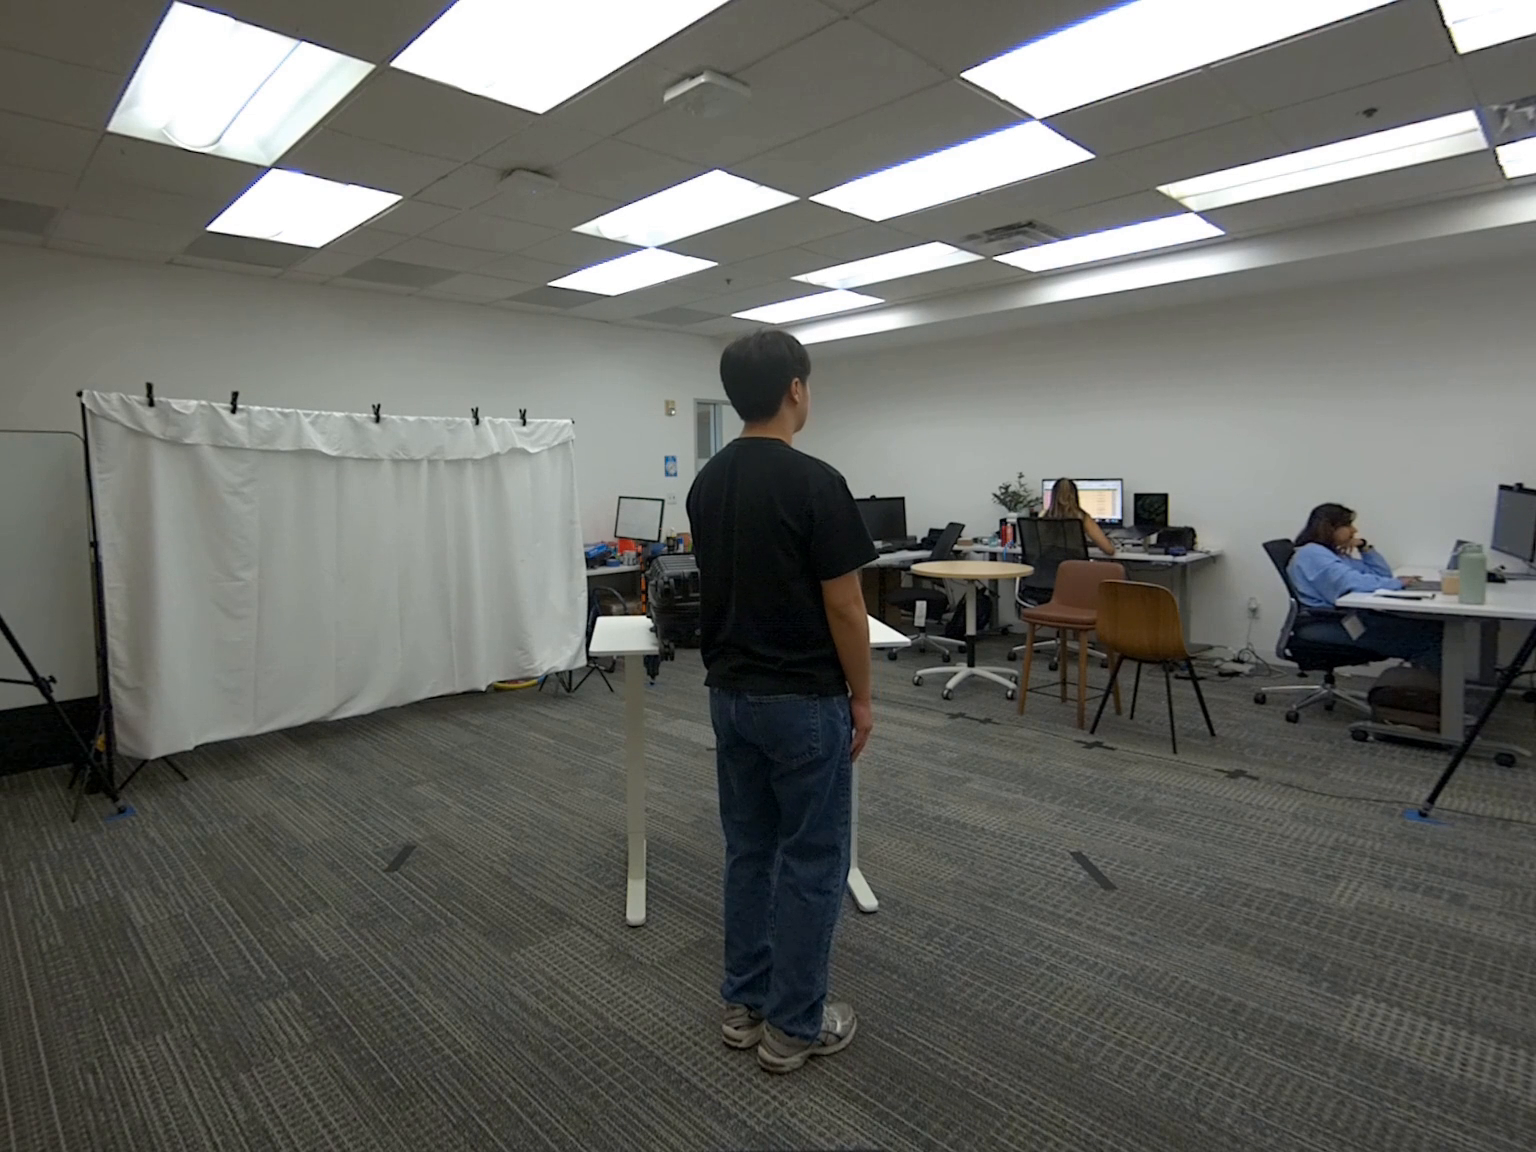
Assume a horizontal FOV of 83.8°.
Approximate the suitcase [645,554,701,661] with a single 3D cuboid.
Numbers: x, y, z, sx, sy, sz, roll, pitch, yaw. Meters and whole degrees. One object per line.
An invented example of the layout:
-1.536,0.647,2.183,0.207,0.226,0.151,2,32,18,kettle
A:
-0.240,0.045,2.994,0.381,0.255,0.995,-3,9,-11,suitcase
